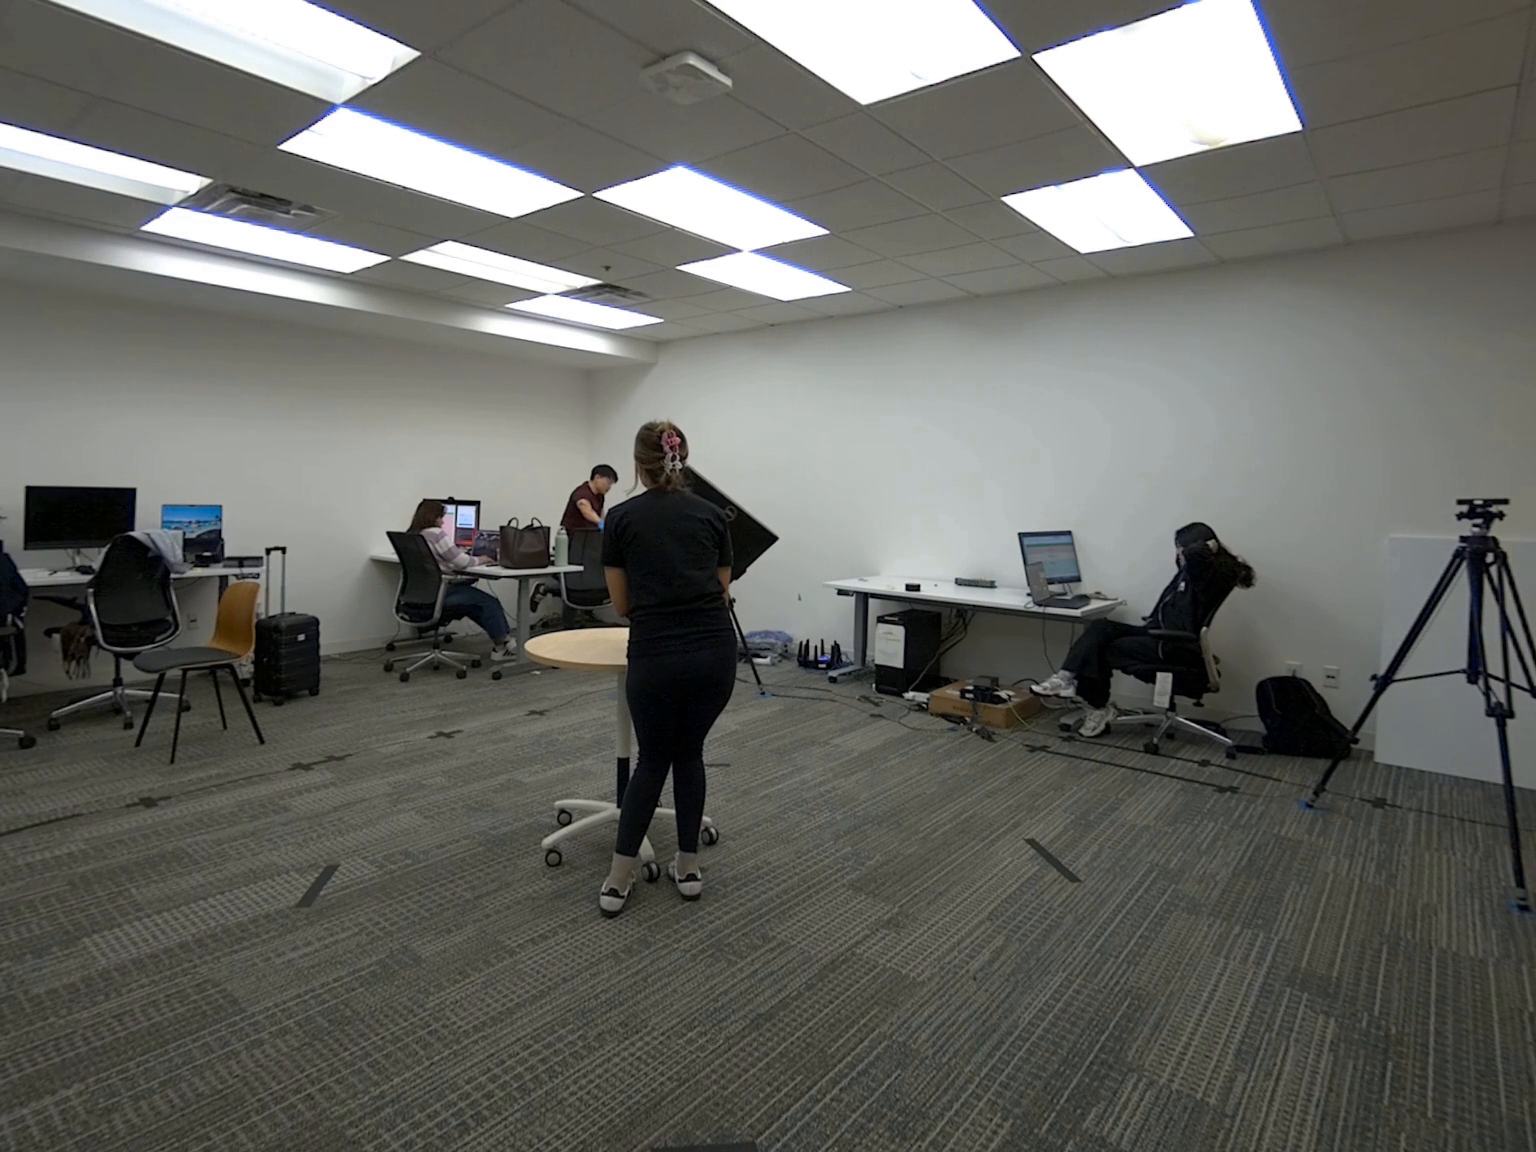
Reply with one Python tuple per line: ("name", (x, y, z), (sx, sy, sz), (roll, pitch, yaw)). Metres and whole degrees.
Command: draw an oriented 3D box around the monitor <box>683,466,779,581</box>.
("monitor", (-0.327, -0.075, 3.256), (0.517, 0.522, 0.195), (34, 4, -41))
